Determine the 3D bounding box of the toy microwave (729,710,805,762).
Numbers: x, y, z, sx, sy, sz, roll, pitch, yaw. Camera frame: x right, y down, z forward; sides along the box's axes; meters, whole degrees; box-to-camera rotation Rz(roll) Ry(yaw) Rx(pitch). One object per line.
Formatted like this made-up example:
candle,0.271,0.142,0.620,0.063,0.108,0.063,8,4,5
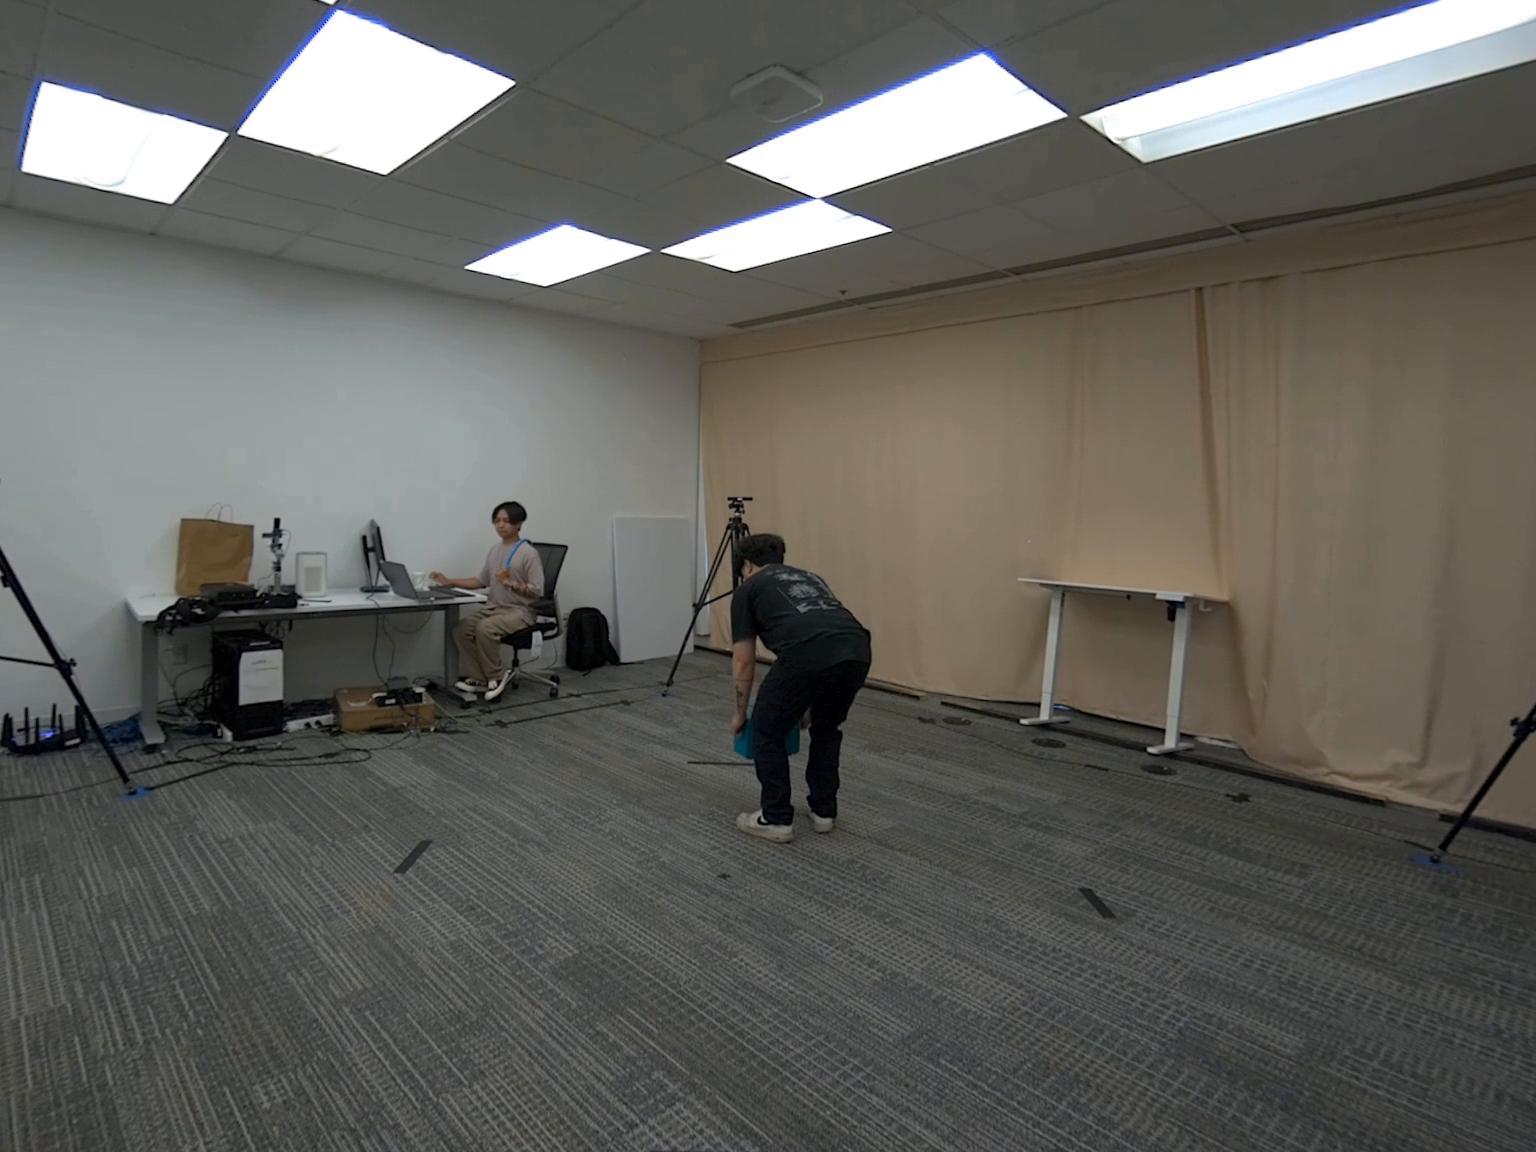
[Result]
toy microwave,-0.007,0.710,3.807,0.280,0.184,0.155,2,3,-27
